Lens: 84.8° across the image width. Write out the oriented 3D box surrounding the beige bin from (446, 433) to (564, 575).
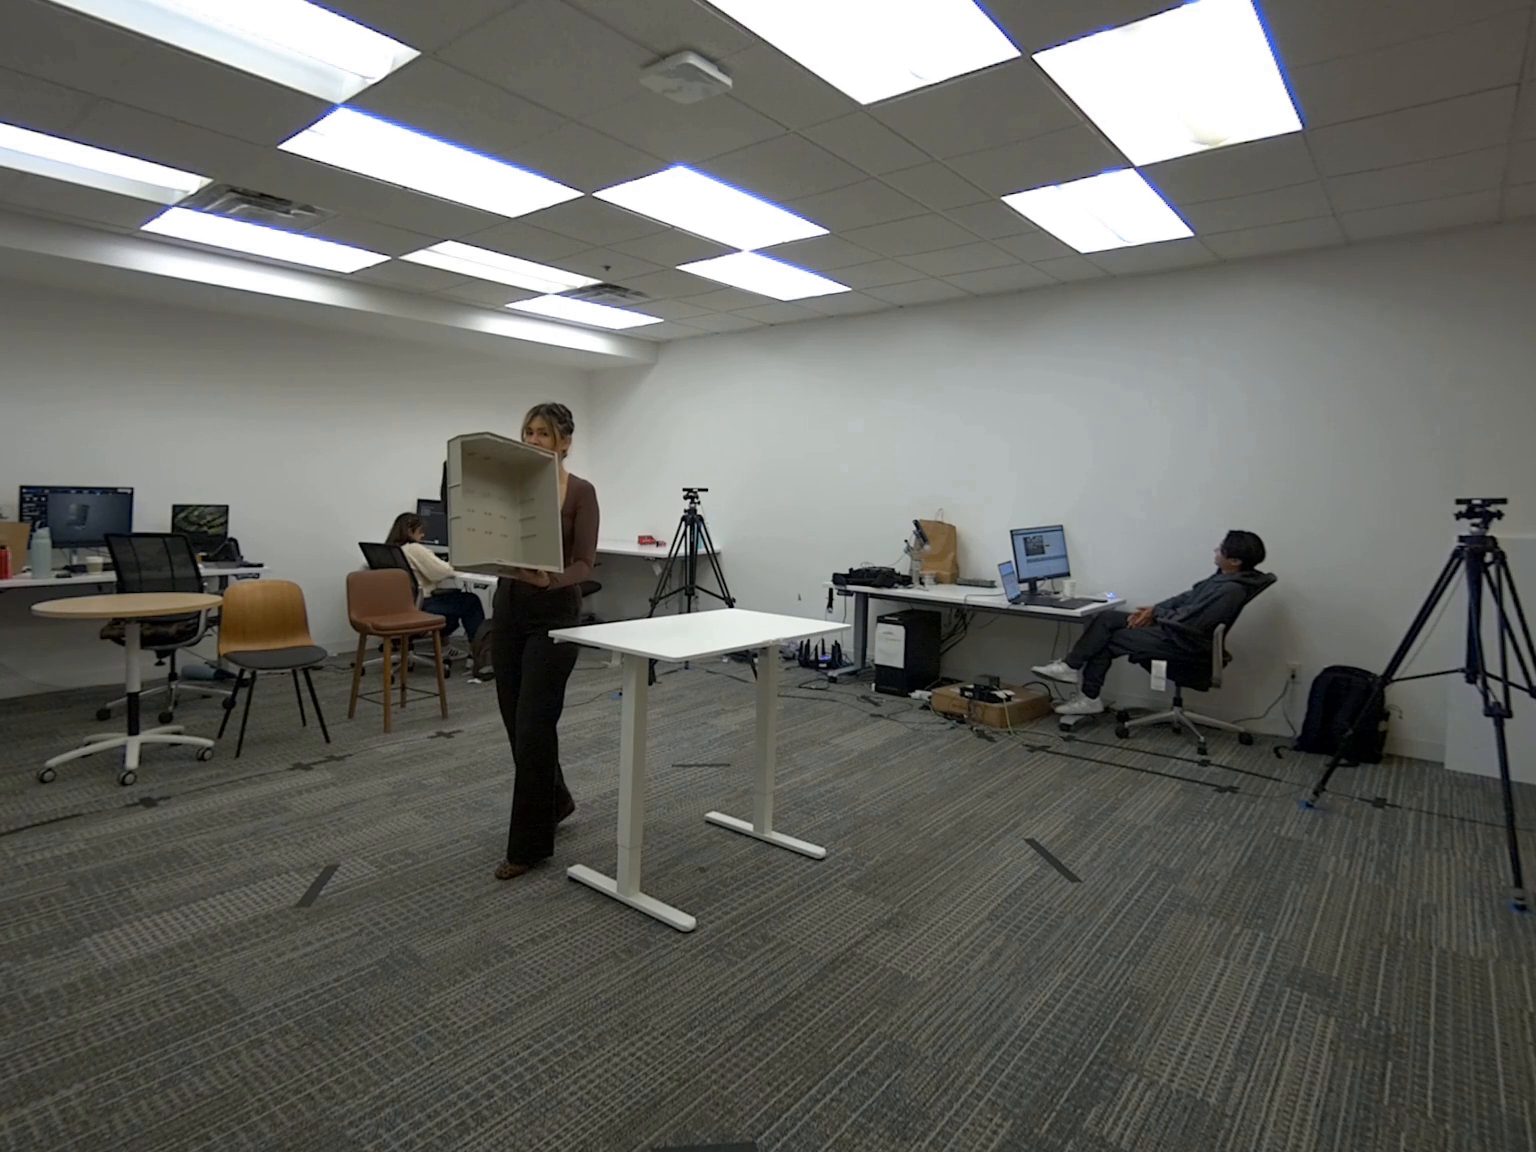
[{"bbox_3d":[-0.878,-0.225,2.790,0.193,0.427,0.365,-11,-12,25],"label":"beige bin"}]
